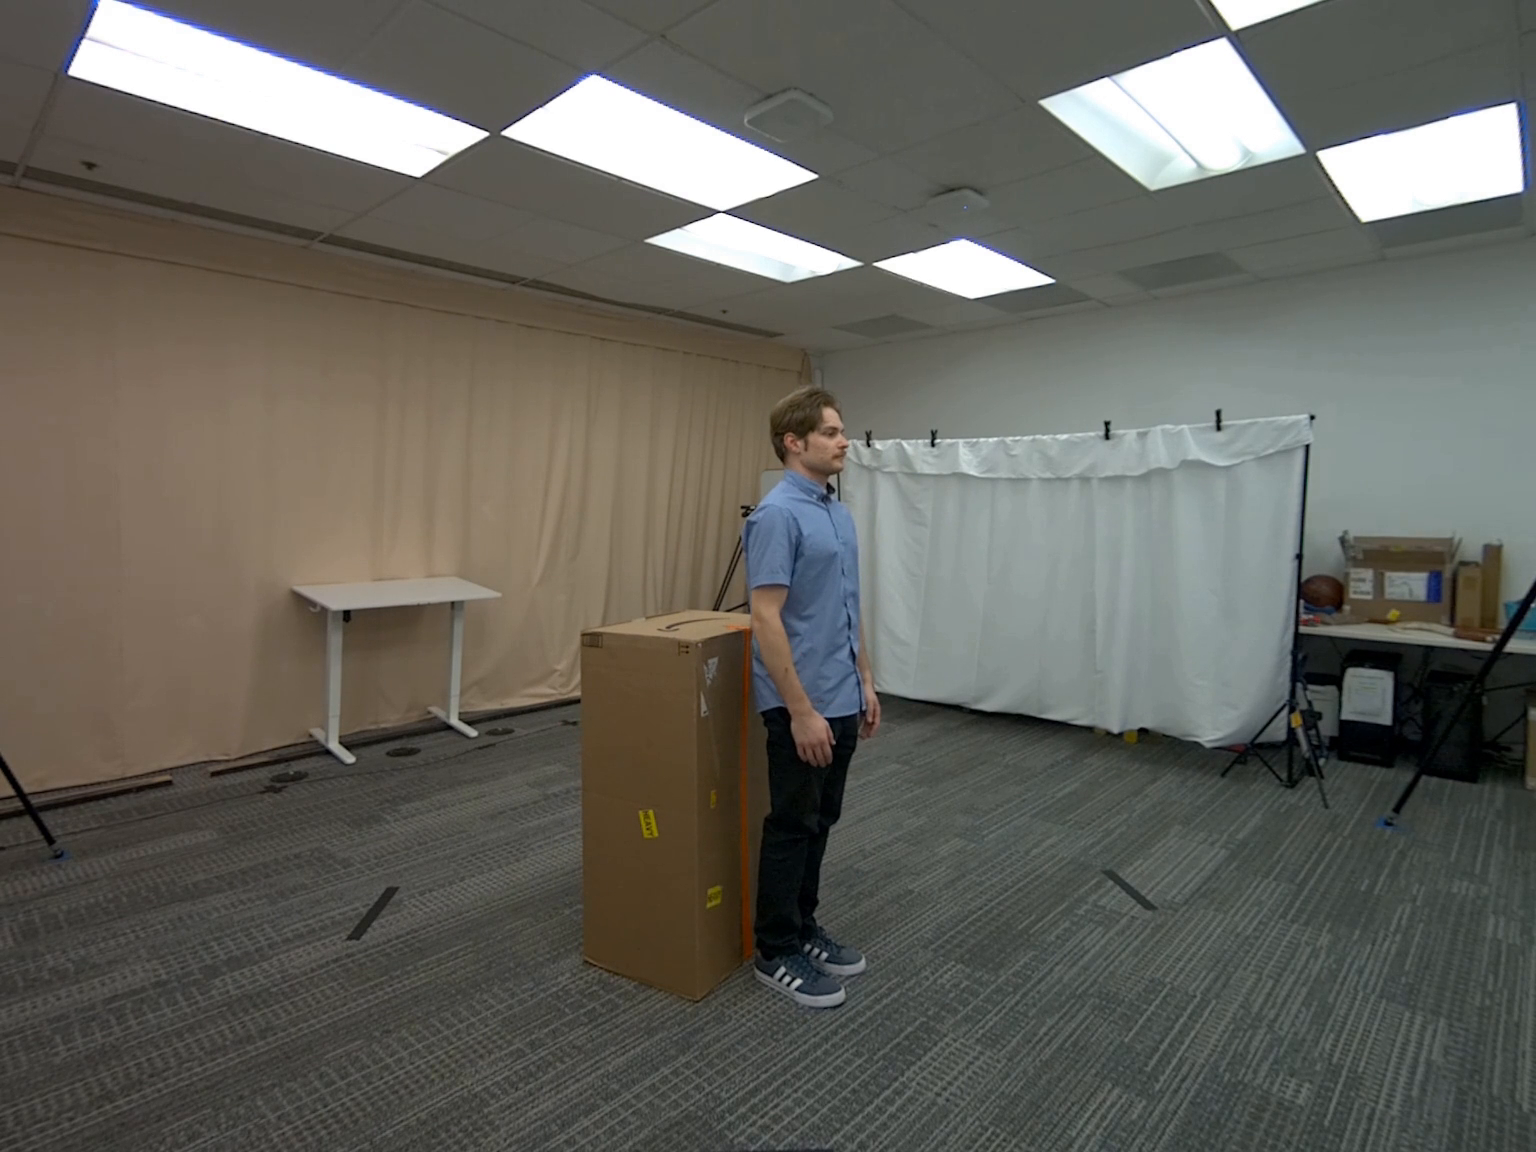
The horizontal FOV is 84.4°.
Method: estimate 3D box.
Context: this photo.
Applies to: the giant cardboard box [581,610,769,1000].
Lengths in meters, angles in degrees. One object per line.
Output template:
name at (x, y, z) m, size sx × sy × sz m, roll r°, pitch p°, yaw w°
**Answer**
giant cardboard box at (-0.247, 0.665, 2.686) m, size 0.459 × 1.025 × 0.569 m, roll 1°, pitch 3°, yaw 29°
